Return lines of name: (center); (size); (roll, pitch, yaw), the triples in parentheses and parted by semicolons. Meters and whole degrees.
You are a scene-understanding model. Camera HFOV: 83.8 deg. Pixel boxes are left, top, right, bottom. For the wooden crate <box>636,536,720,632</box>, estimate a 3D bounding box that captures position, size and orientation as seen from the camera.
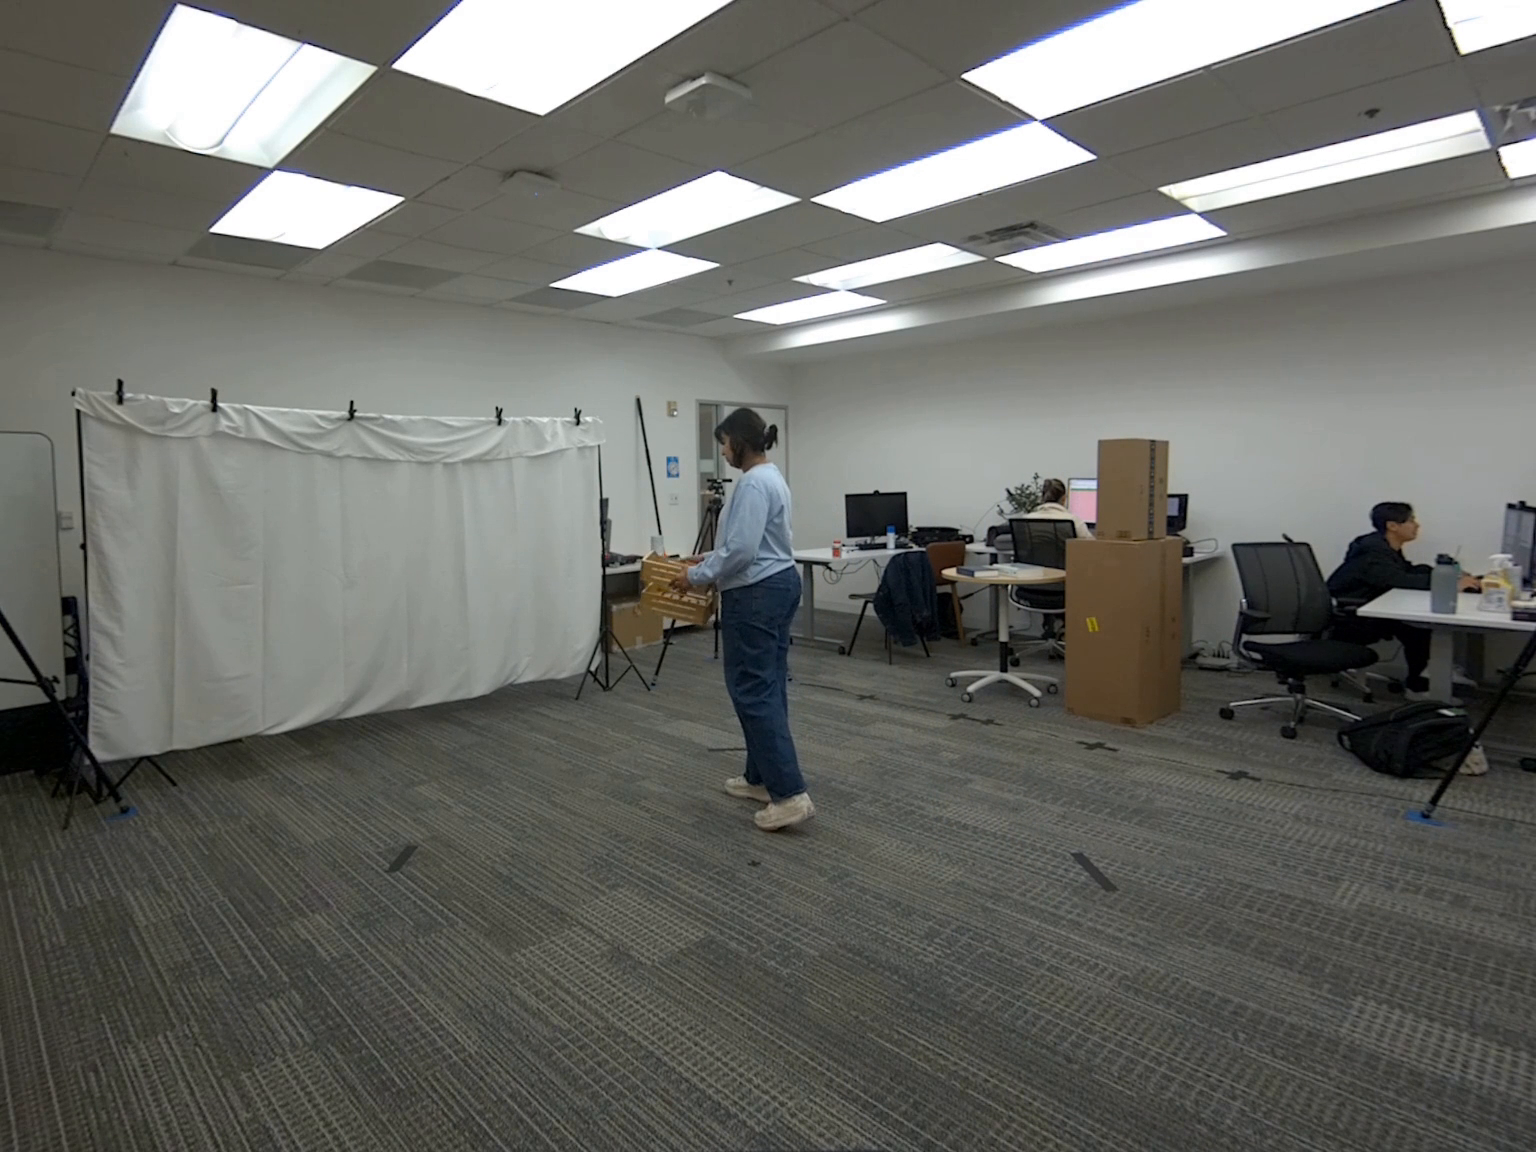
wooden crate: (-0.371, 0.026, 3.807); (0.328, 0.269, 0.303); (11, 20, 8)
